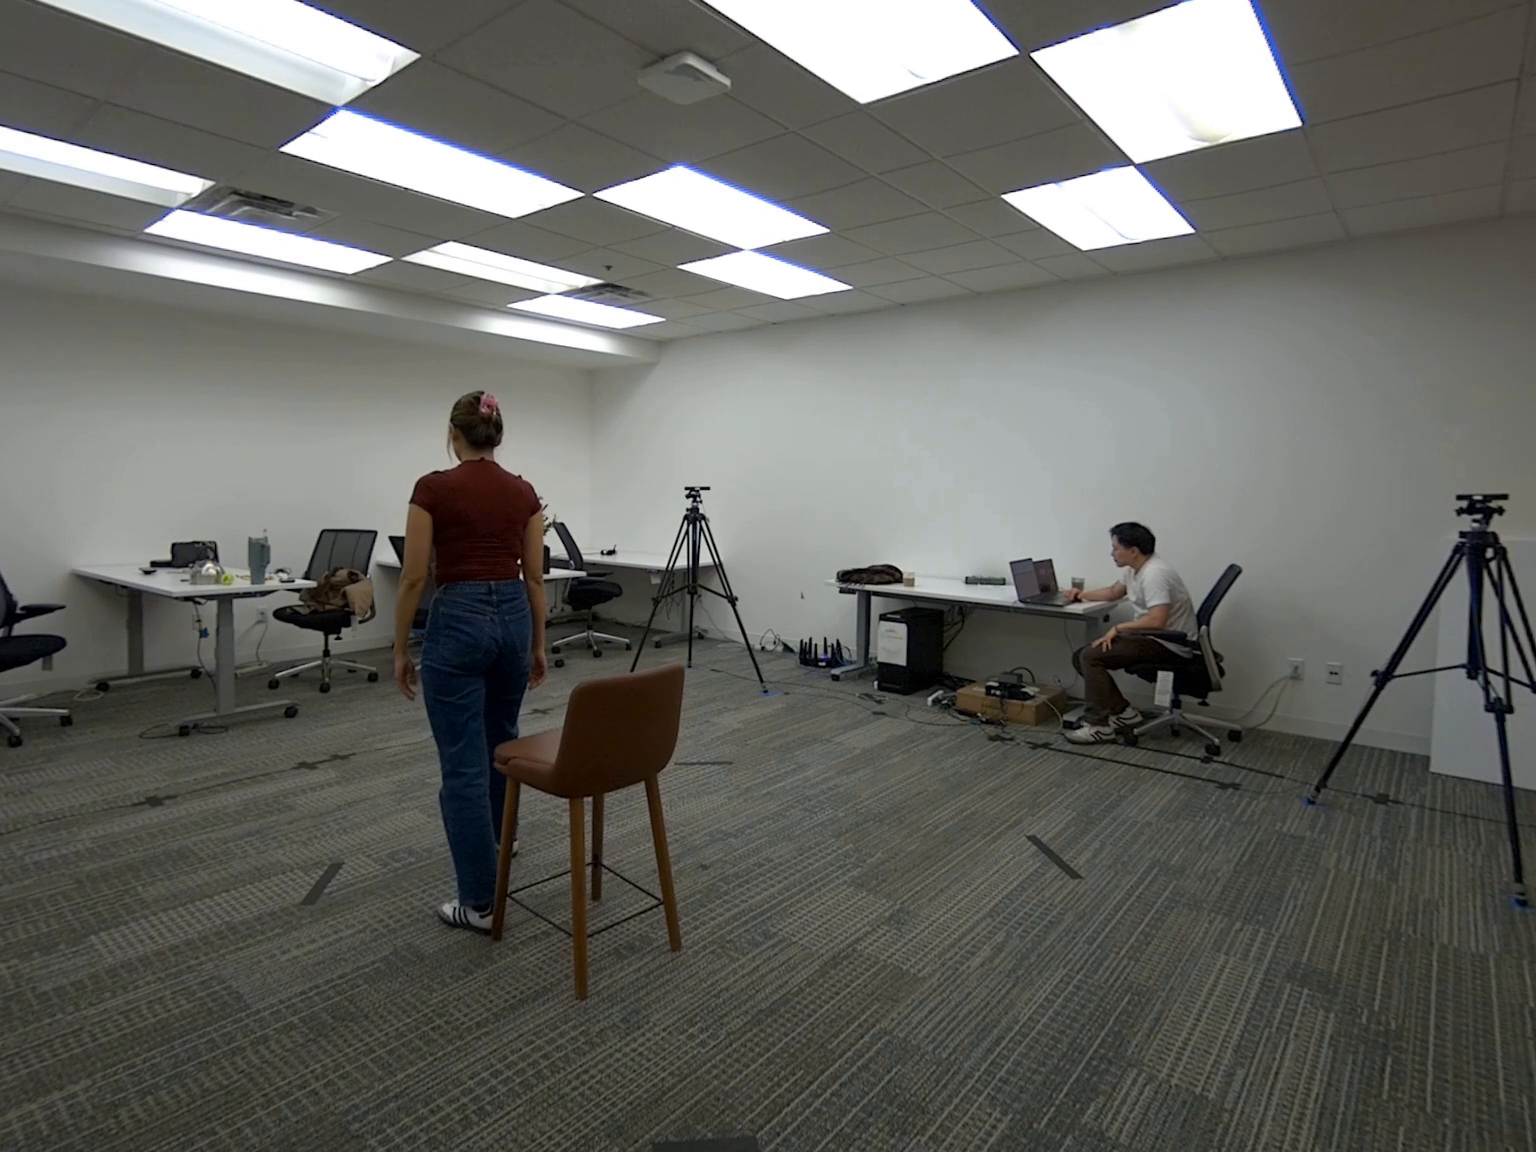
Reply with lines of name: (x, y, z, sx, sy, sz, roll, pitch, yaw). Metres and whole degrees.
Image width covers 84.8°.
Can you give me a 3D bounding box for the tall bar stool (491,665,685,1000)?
tall bar stool: (-0.547, 0.683, 2.555, 0.484, 0.886, 0.443, 6, 6, 43)
